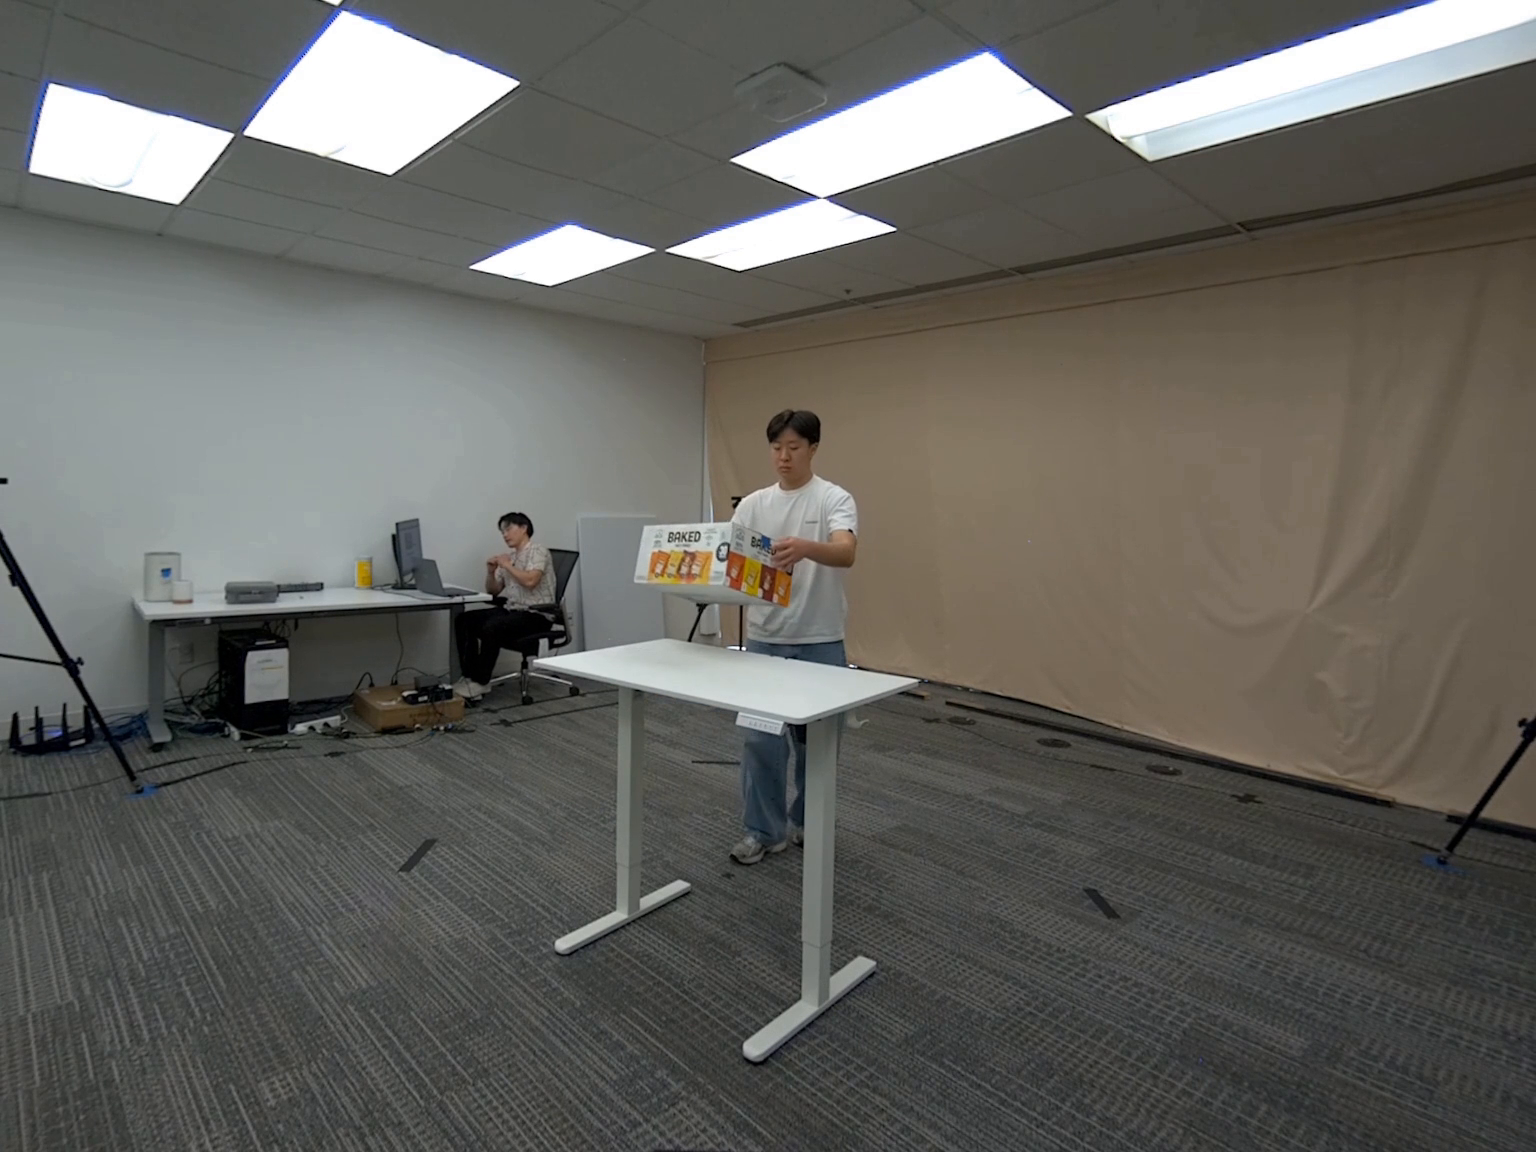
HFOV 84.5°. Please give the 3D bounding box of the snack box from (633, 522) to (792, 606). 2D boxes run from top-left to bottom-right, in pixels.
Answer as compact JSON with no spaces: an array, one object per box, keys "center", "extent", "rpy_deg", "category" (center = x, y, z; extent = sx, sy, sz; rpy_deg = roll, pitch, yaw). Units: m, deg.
[{"center":[-0.186,-0.024,2.853],"extent":[0.415,0.207,0.330],"rpy_deg":[1,-14,40],"category":"snack box"}]
